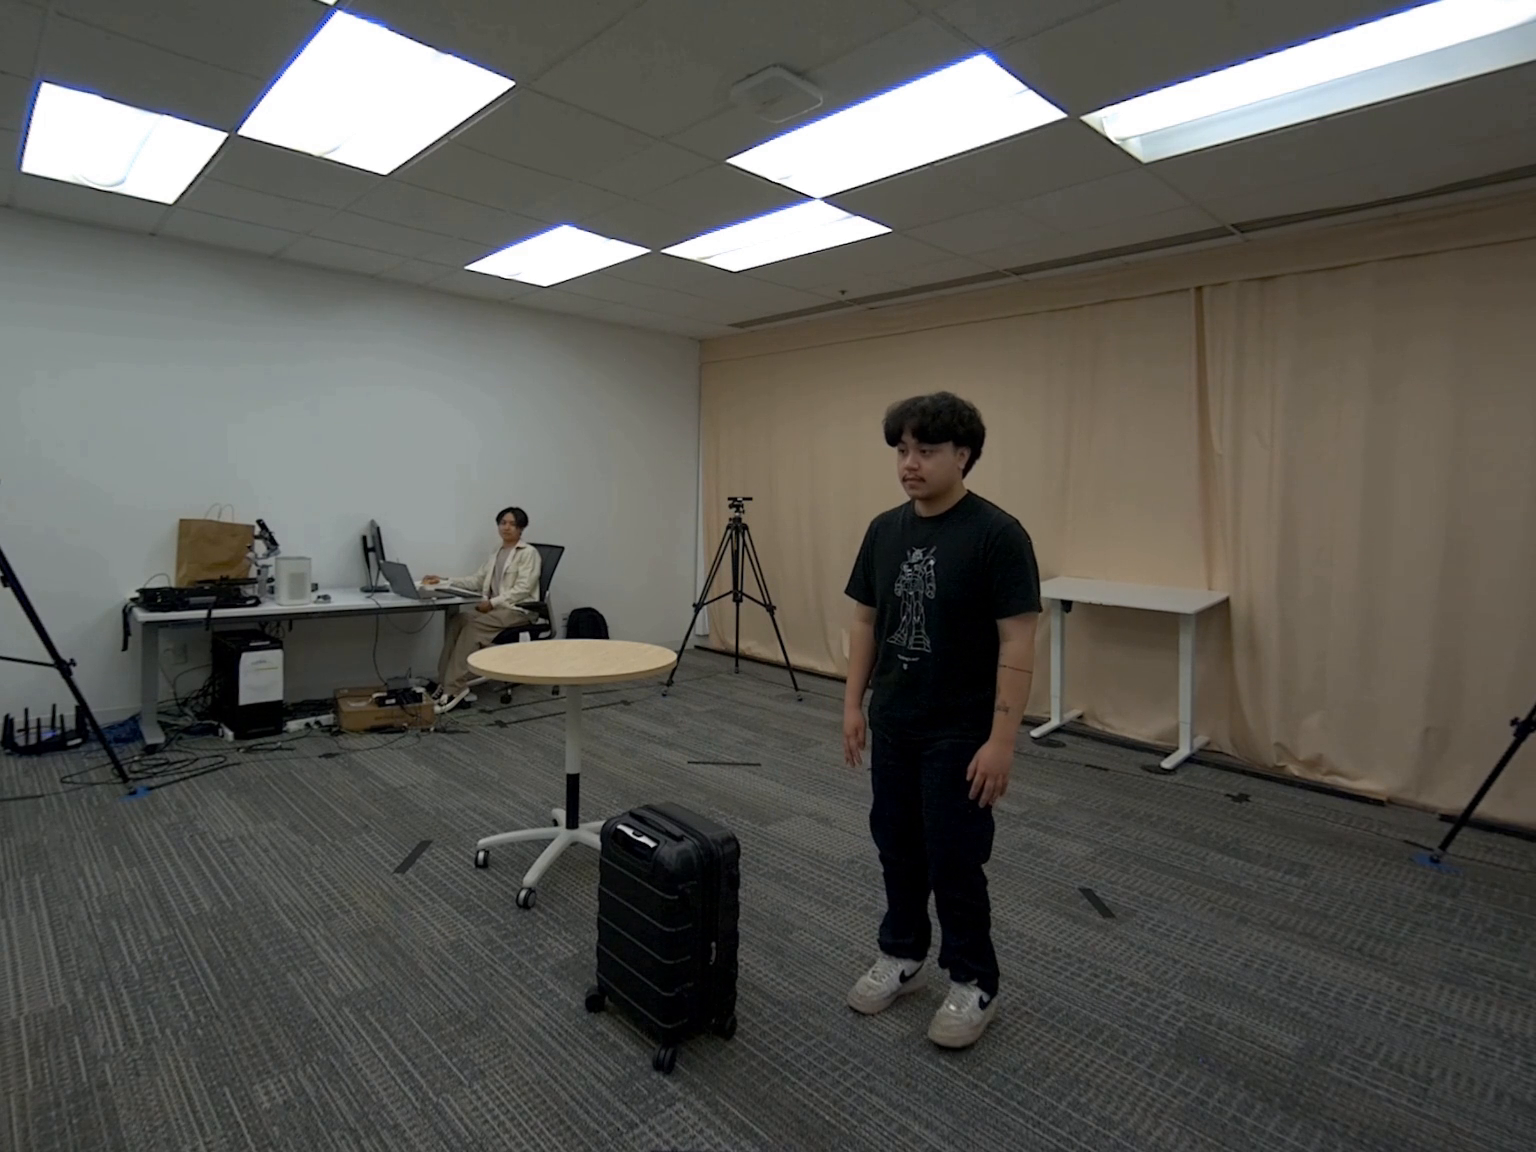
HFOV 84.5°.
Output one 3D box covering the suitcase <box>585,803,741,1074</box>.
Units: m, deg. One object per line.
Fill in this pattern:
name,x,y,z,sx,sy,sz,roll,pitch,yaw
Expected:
suitcase,-0.266,0.910,2.226,0.242,0.548,0.385,0,3,-44
